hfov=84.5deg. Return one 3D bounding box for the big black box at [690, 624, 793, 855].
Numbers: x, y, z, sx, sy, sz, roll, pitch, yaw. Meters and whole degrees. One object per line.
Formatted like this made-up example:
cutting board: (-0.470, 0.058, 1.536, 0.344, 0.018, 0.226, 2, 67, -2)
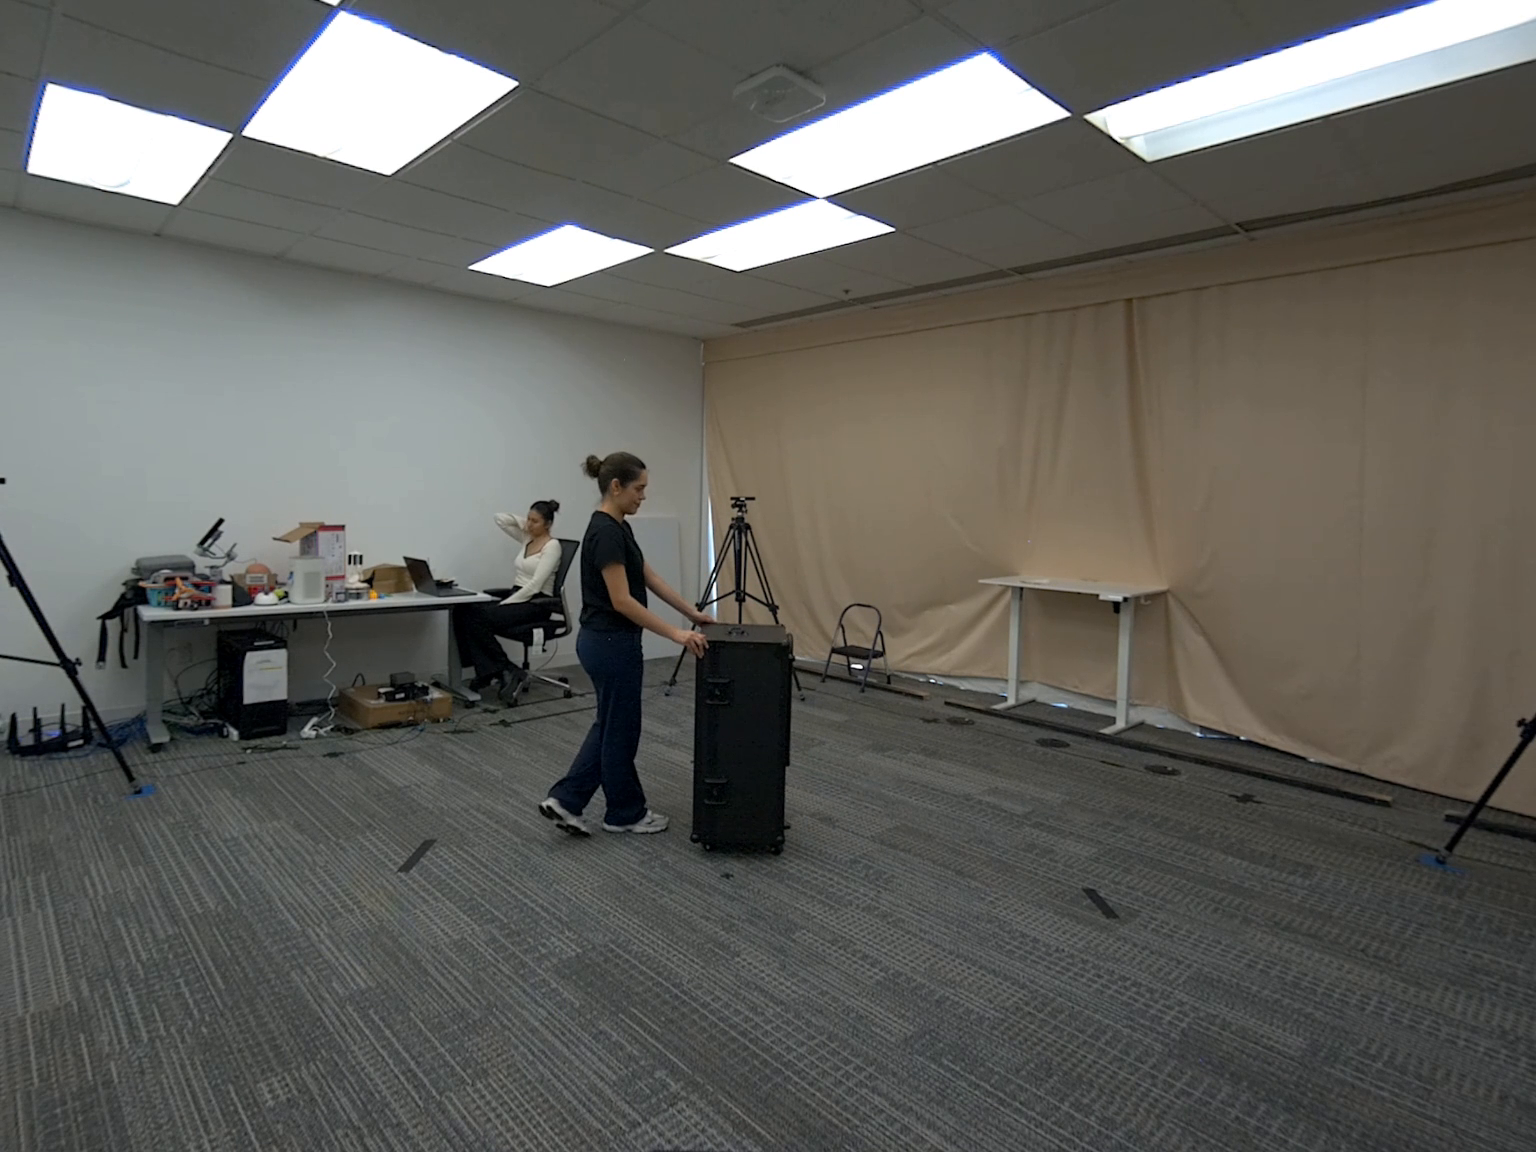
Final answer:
big black box: (-0.106, 0.656, 3.436, 0.396, 0.860, 0.522, 3, 3, -1)
